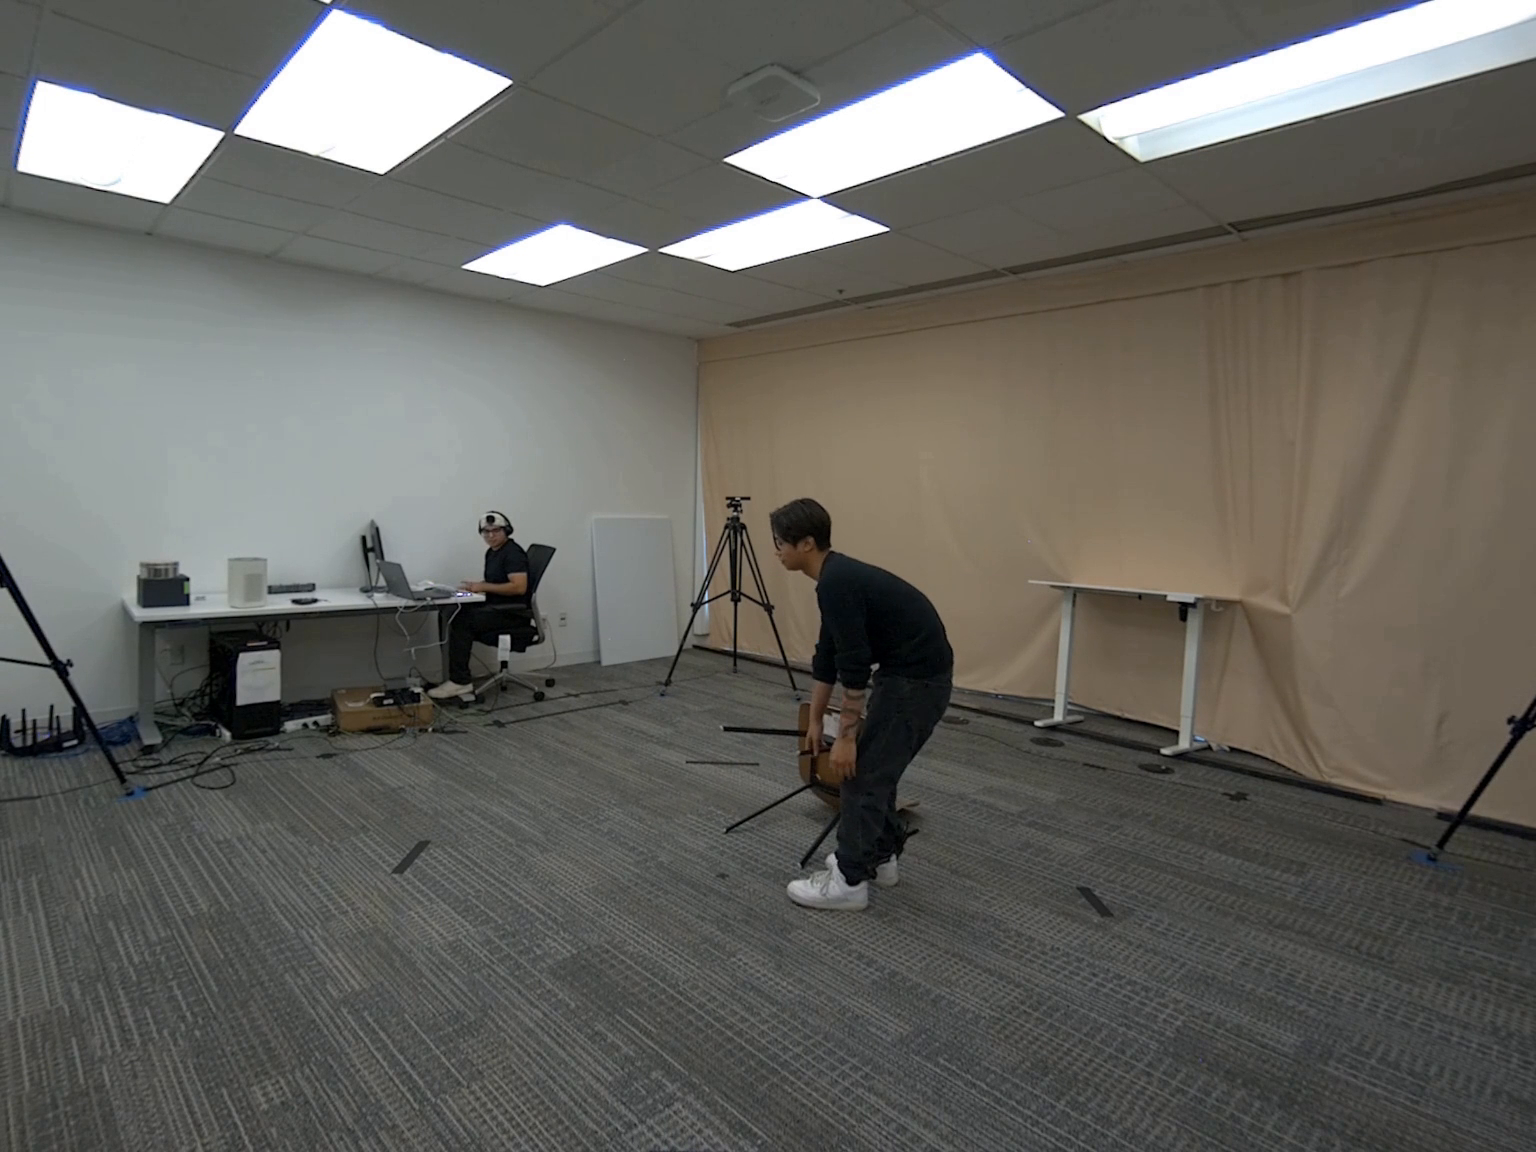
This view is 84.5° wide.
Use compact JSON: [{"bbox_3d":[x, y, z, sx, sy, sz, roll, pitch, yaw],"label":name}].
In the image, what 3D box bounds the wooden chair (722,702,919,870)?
[{"bbox_3d":[0.269,0.816,3.596,0.857,0.522,0.490,-1,4,-43],"label":"wooden chair"}]
